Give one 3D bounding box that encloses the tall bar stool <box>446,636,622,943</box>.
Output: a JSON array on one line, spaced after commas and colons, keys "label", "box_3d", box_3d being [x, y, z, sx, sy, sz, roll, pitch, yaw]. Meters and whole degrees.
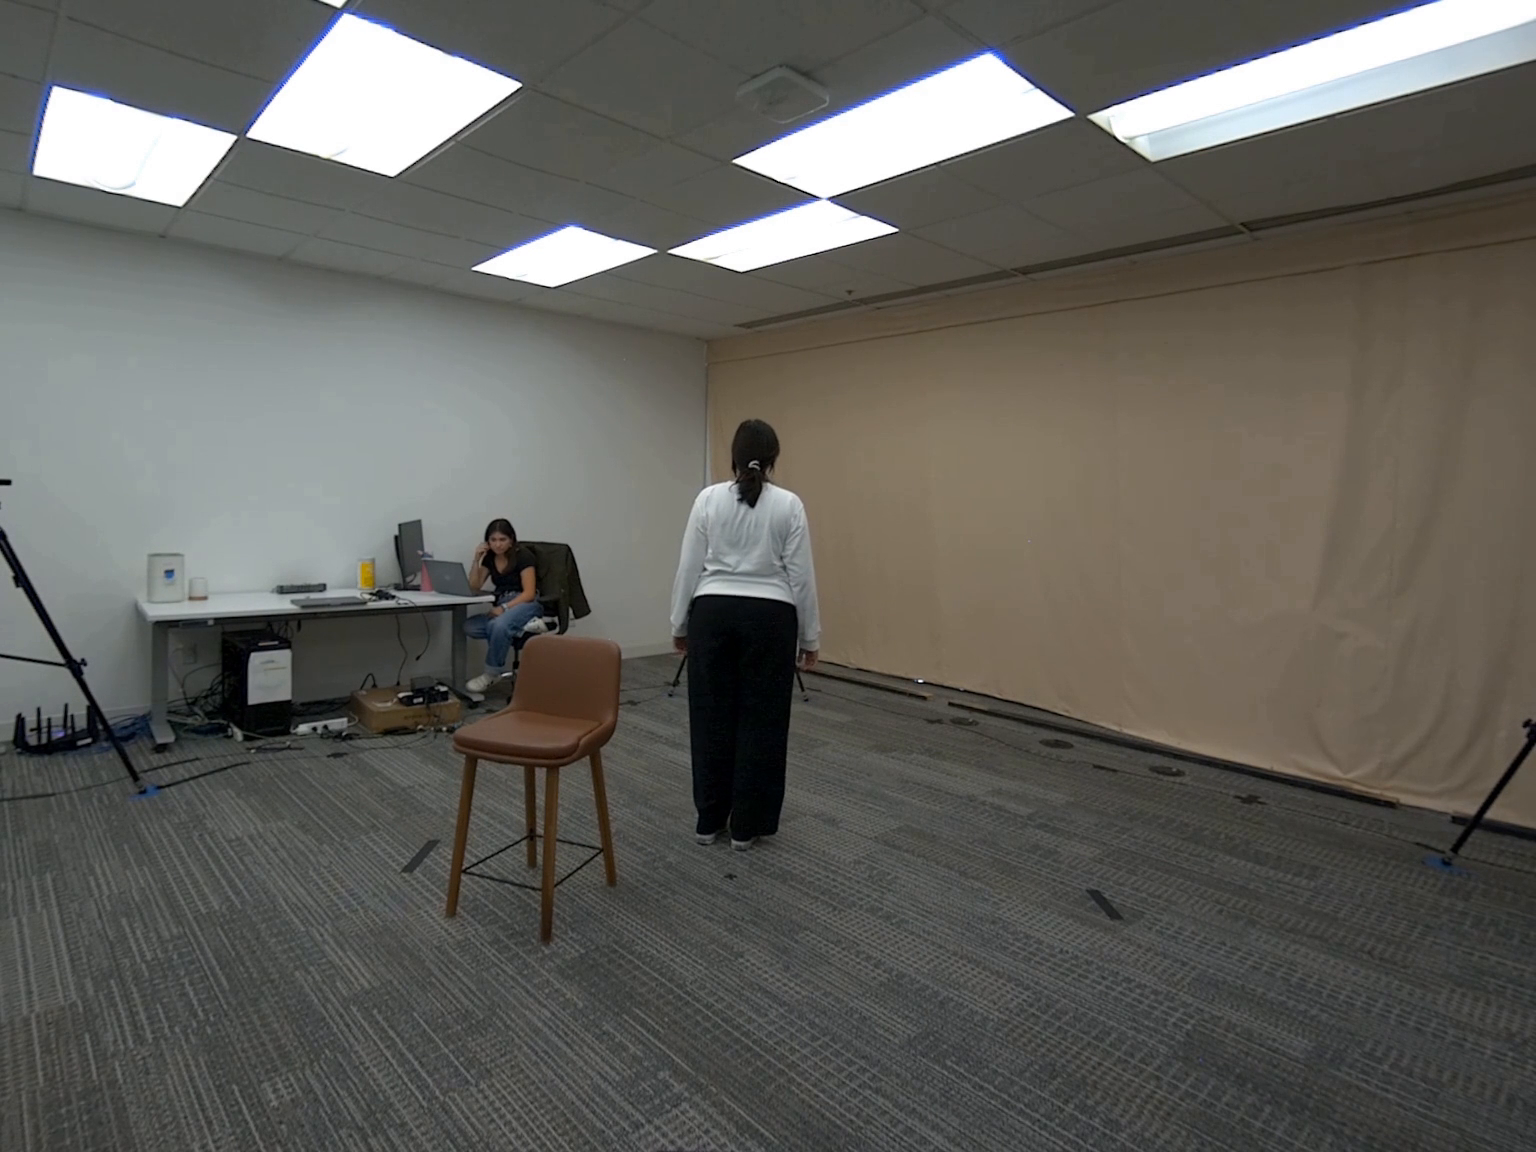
[{"label": "tall bar stool", "box_3d": [-0.786, 0.681, 2.866, 0.465, 0.888, 0.459, 3, 2, 24]}]
